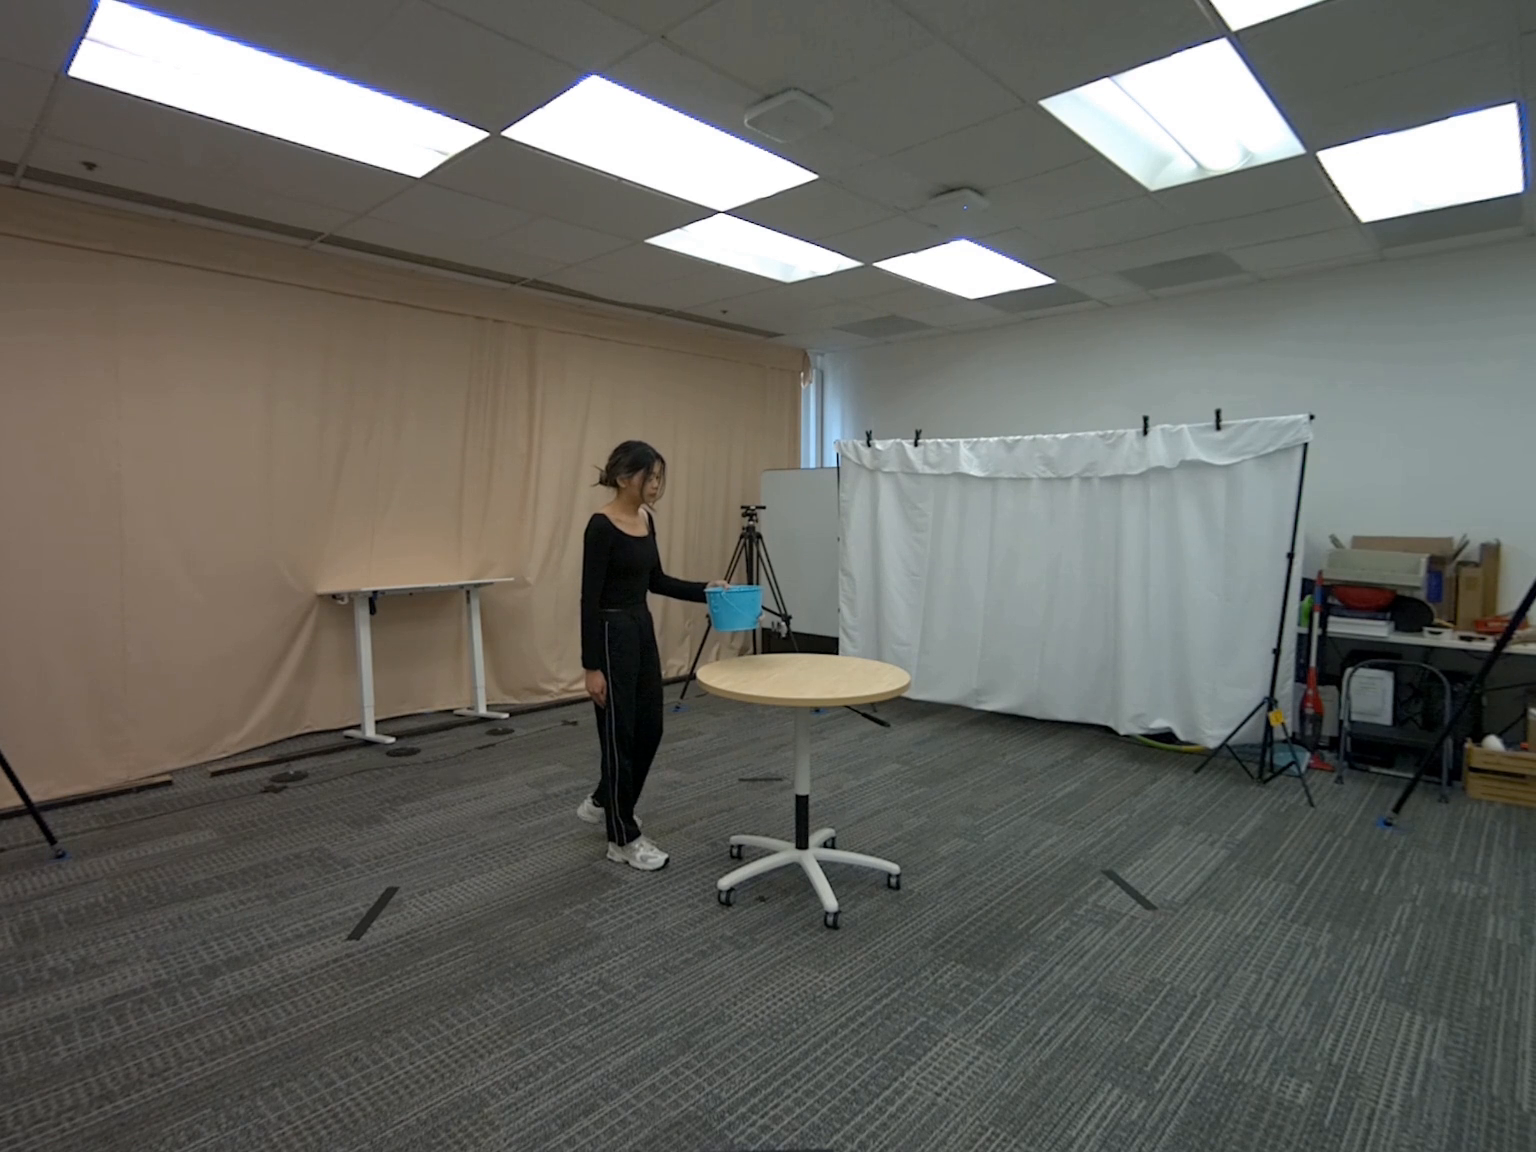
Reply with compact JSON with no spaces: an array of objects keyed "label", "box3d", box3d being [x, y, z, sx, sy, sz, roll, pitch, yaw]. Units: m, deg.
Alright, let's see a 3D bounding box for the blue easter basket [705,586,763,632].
[{"label":"blue easter basket","box3d":[-0.129,0.129,3.243,0.243,0.156,0.244,-3,2,-2]}]
